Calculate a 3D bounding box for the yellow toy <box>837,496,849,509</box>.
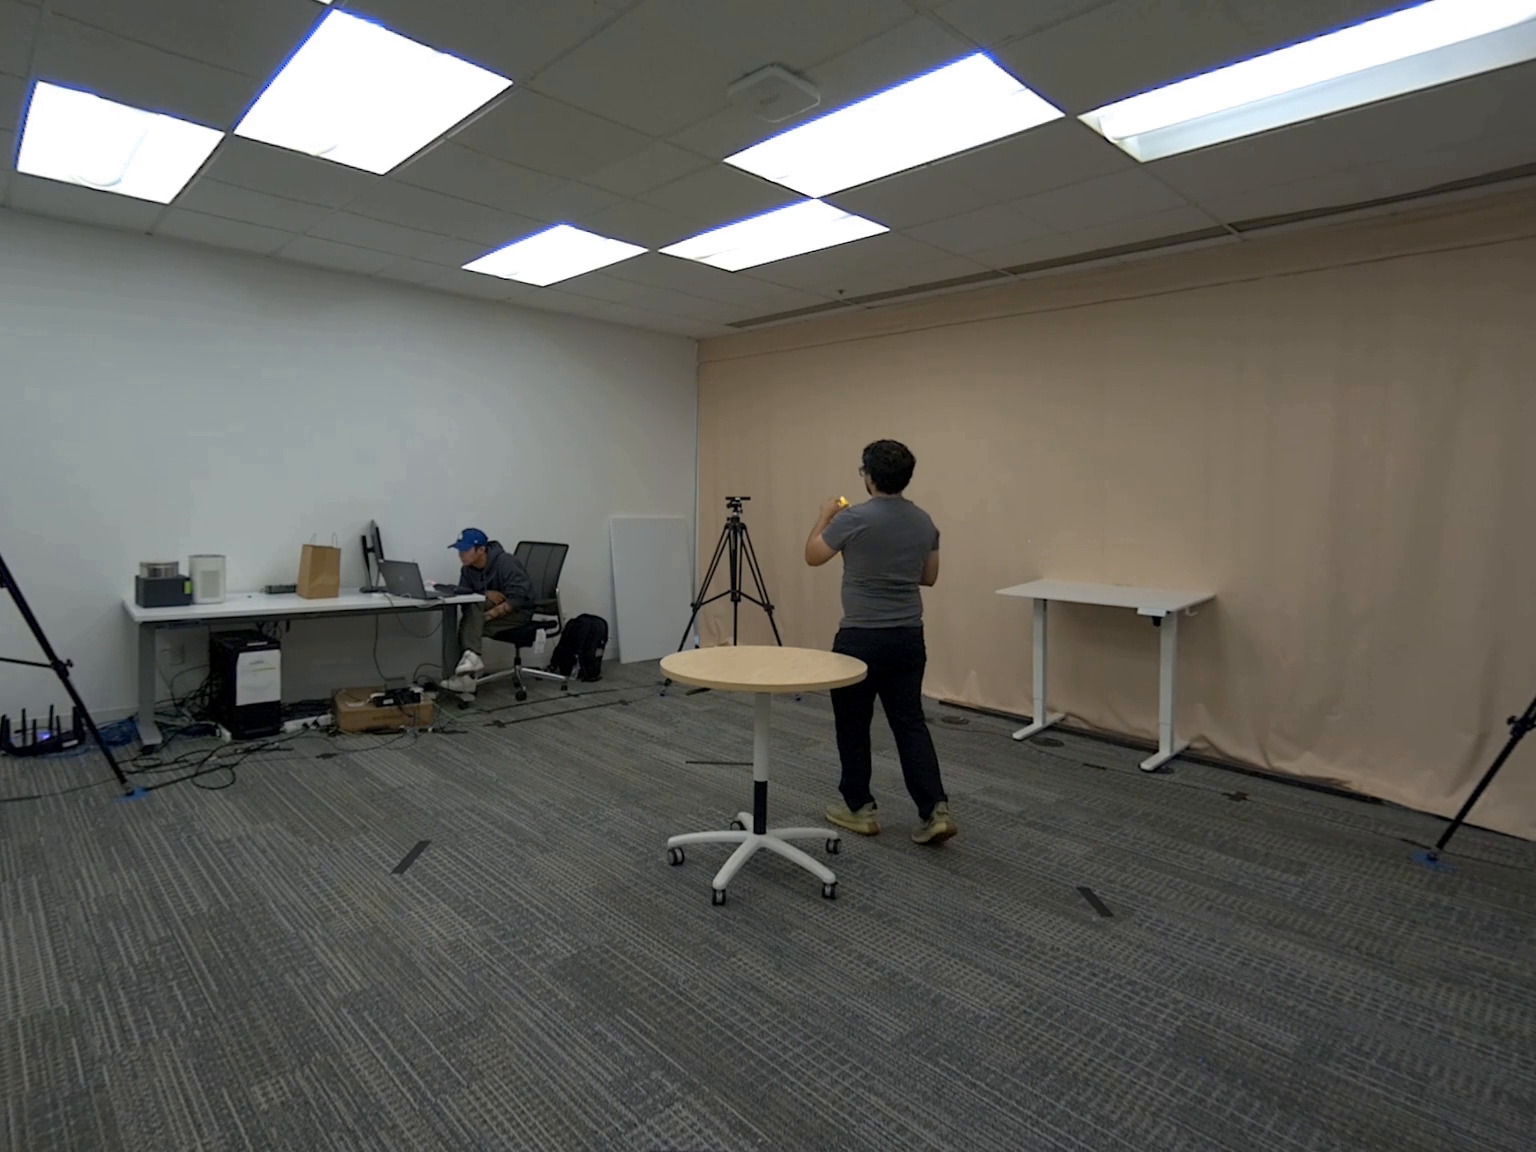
[{"bbox_3d":[0.357,-0.233,3.800,0.203,0.229,0.196,-4,11,-11],"label":"yellow toy"}]
